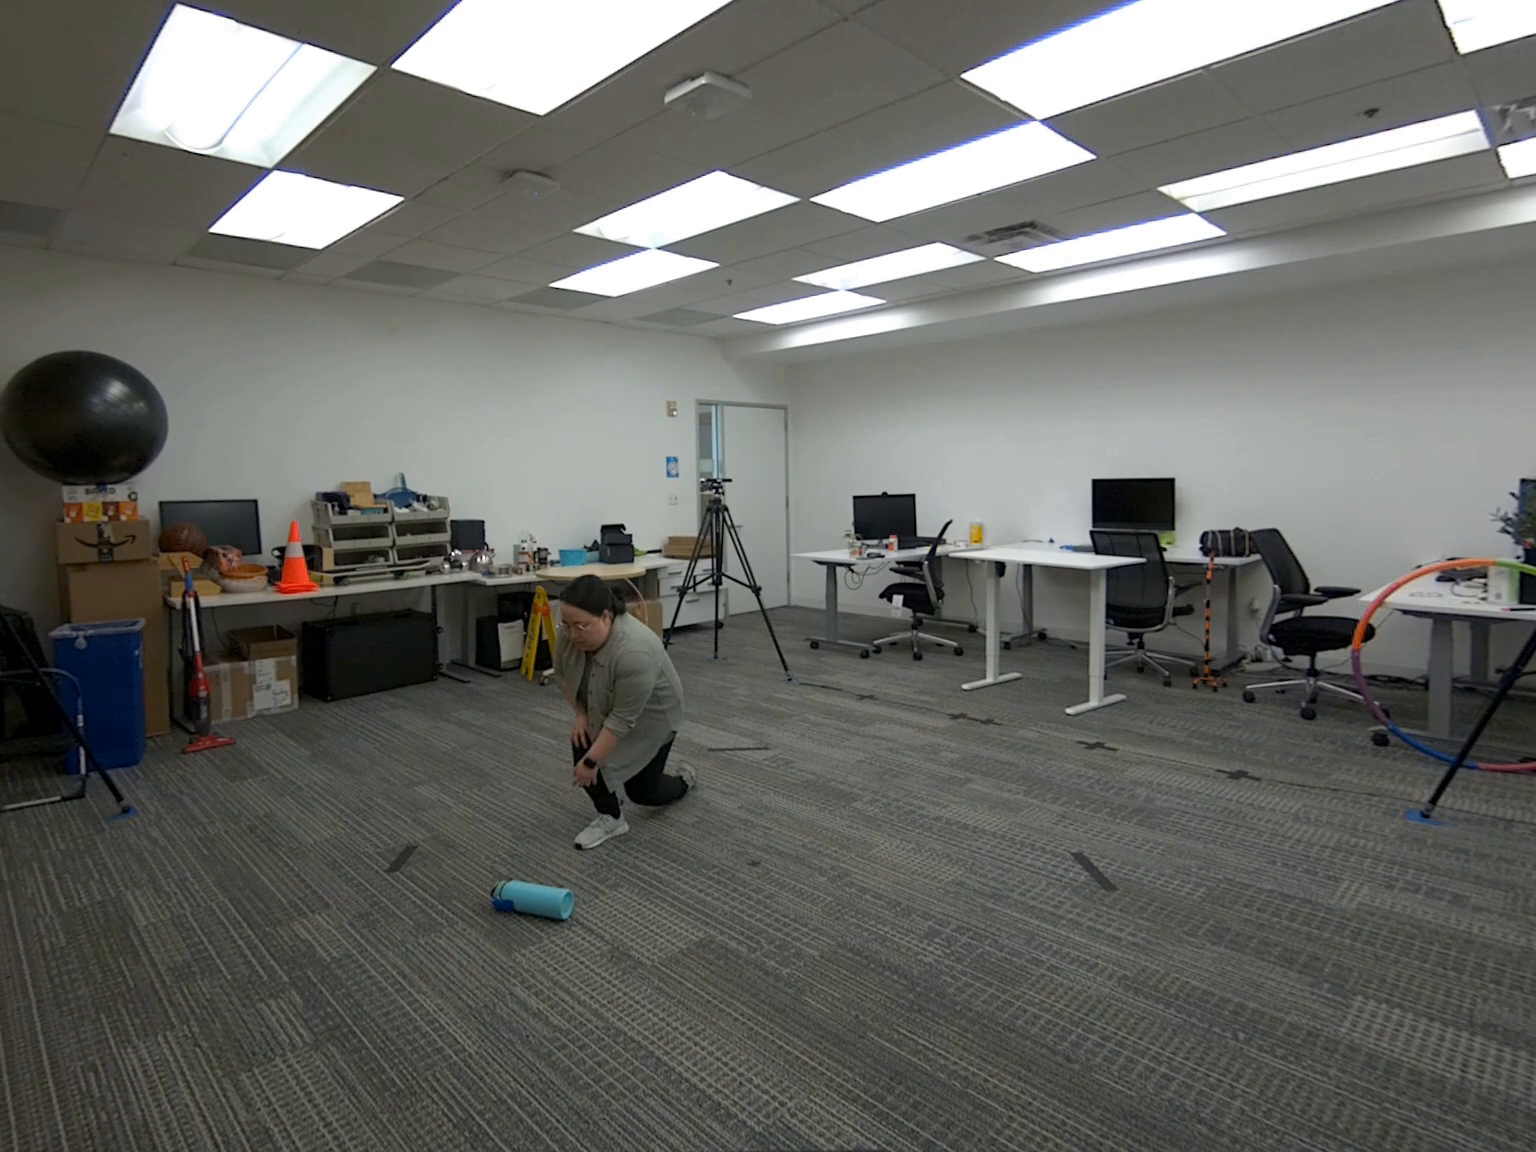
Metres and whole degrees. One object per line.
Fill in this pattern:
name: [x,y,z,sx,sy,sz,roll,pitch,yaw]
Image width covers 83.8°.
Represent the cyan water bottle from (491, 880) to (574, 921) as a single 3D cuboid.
cyan water bottle: [-0.773,1.052,2.784,0.289,0.092,0.091,1,5,19]
